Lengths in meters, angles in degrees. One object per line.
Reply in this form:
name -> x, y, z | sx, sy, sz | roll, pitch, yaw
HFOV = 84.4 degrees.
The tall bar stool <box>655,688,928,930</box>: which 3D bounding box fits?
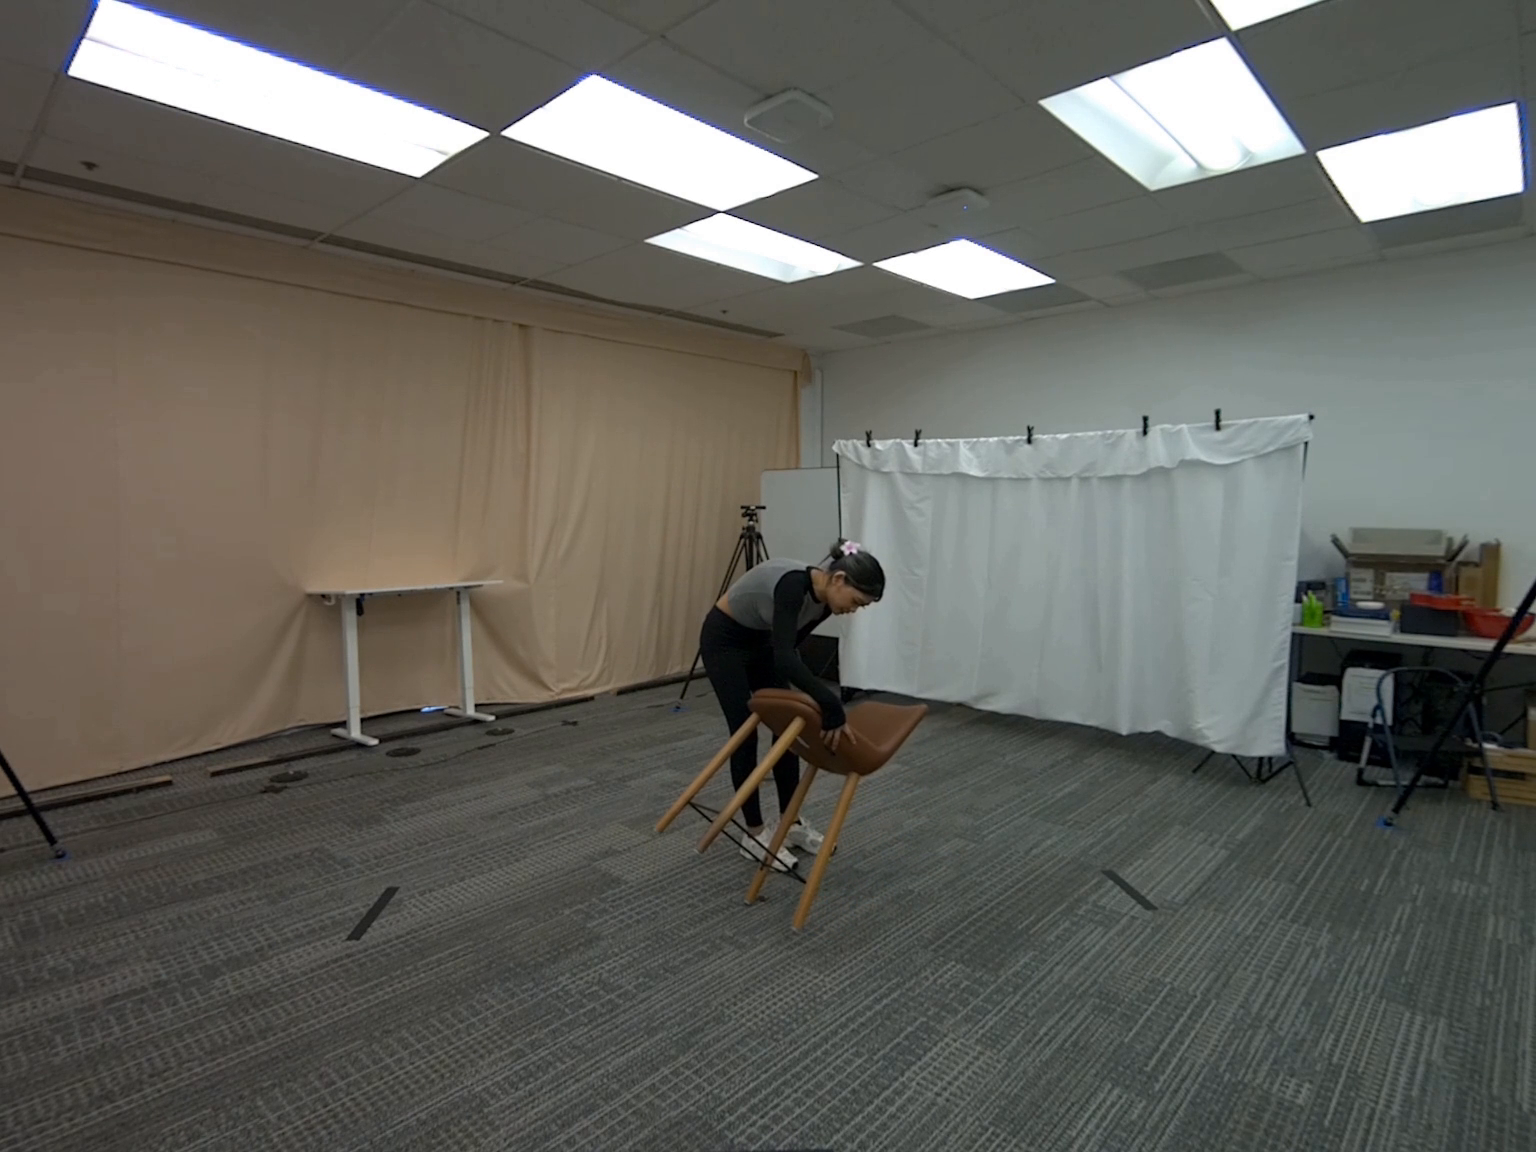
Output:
tall bar stool -> 0.101, 0.667, 2.893 | 0.460, 0.886, 0.465 | 43, -21, -14
